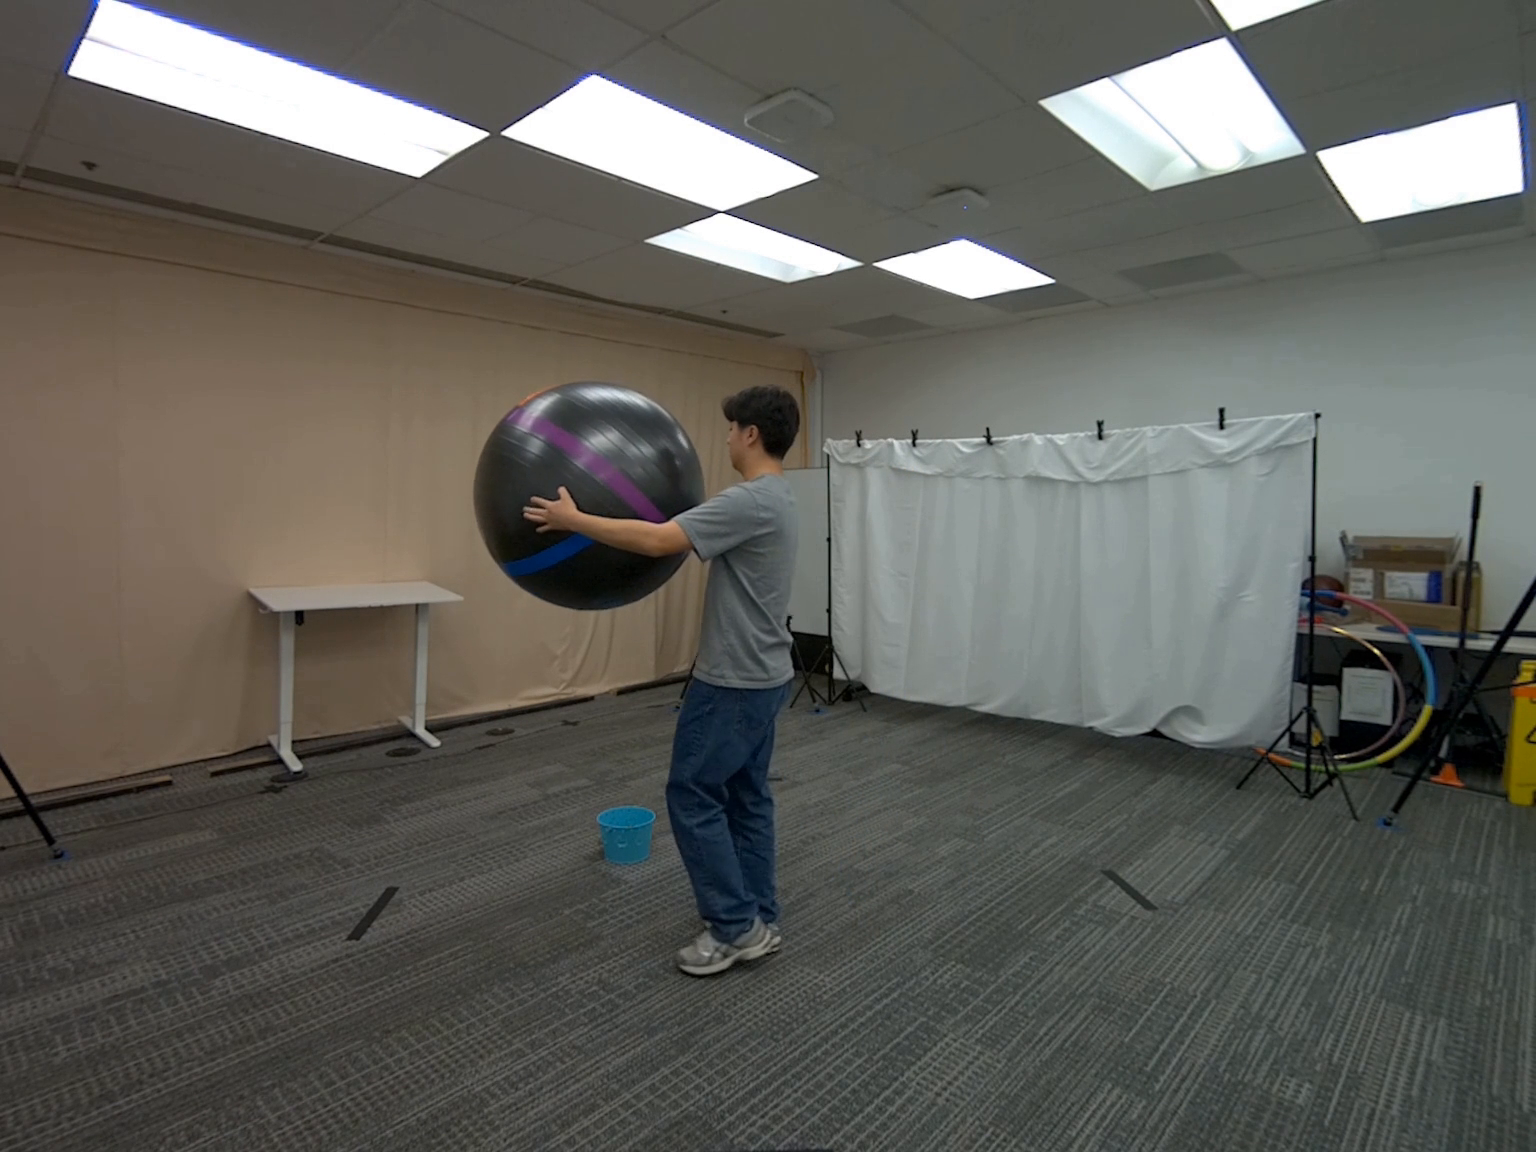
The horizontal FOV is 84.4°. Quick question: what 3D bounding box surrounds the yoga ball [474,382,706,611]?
[{"bbox_3d":[-0.594,-0.255,2.817,0.757,0.756,0.761,0,4,-2],"label":"yoga ball"}]
